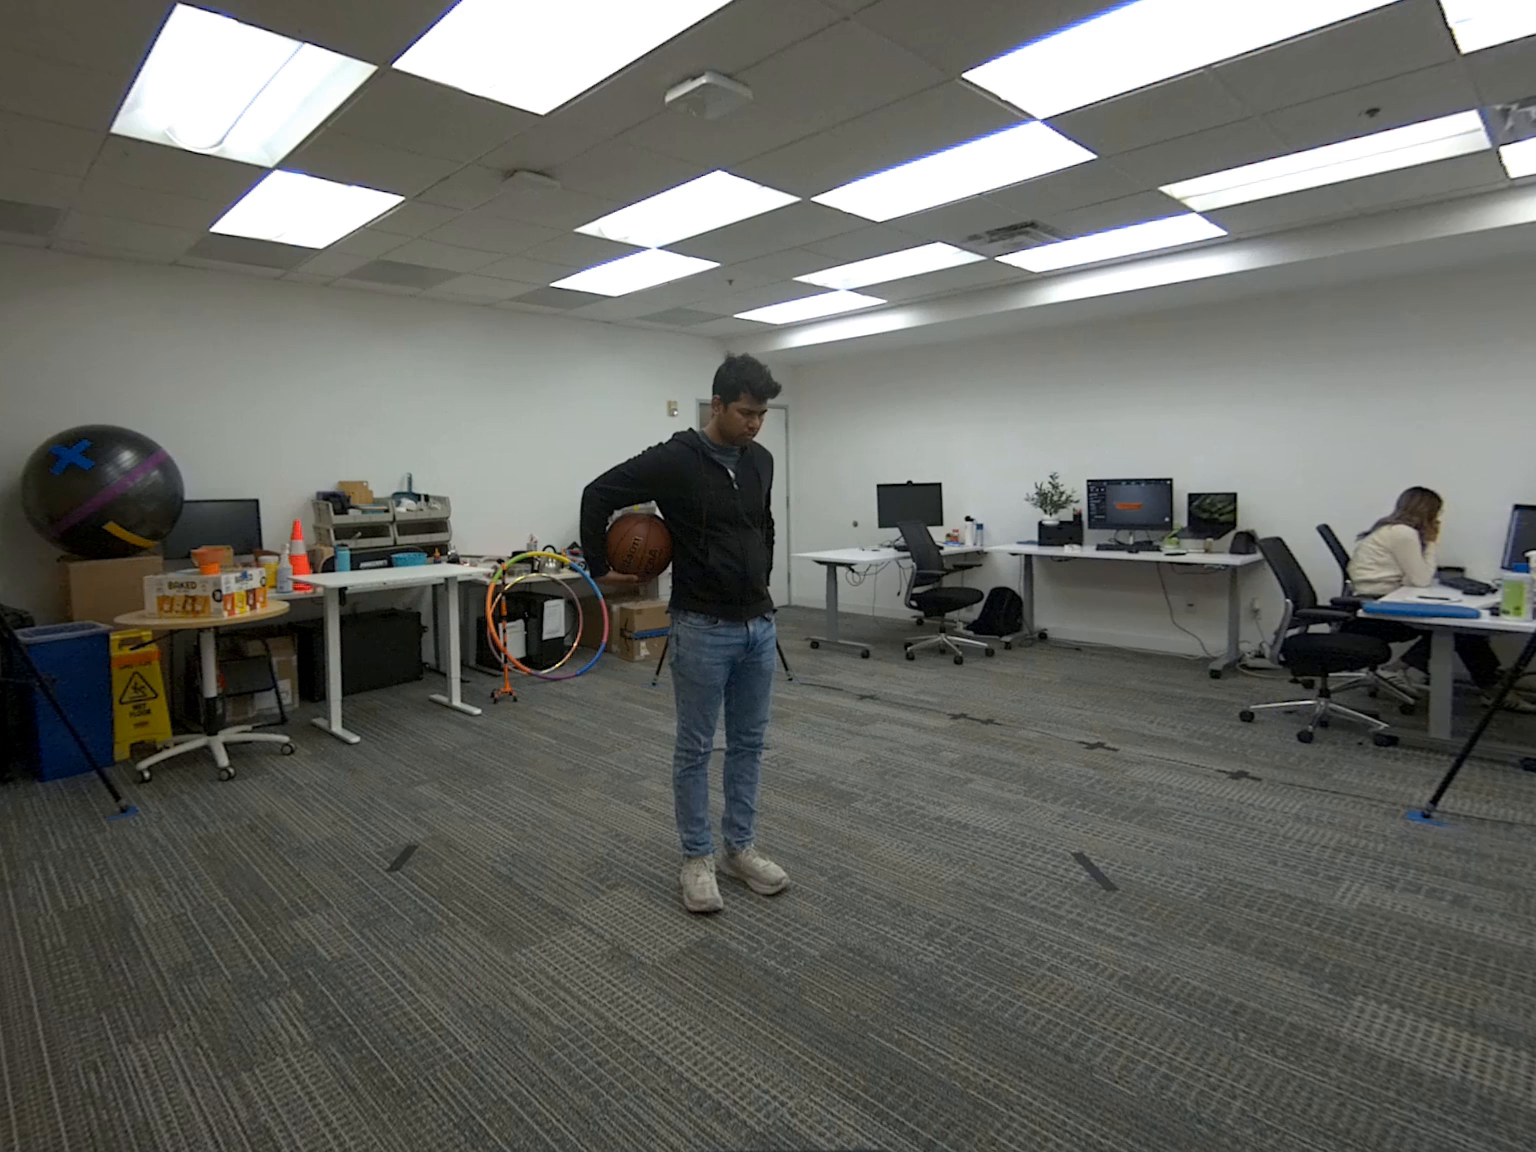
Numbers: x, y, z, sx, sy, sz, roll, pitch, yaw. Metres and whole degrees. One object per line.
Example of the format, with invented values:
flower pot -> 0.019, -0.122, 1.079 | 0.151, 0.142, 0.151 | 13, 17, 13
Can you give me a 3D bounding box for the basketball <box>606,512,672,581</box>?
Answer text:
basketball -> -0.410, -0.099, 2.852 | 0.236, 0.235, 0.237 | -1, 5, -2
